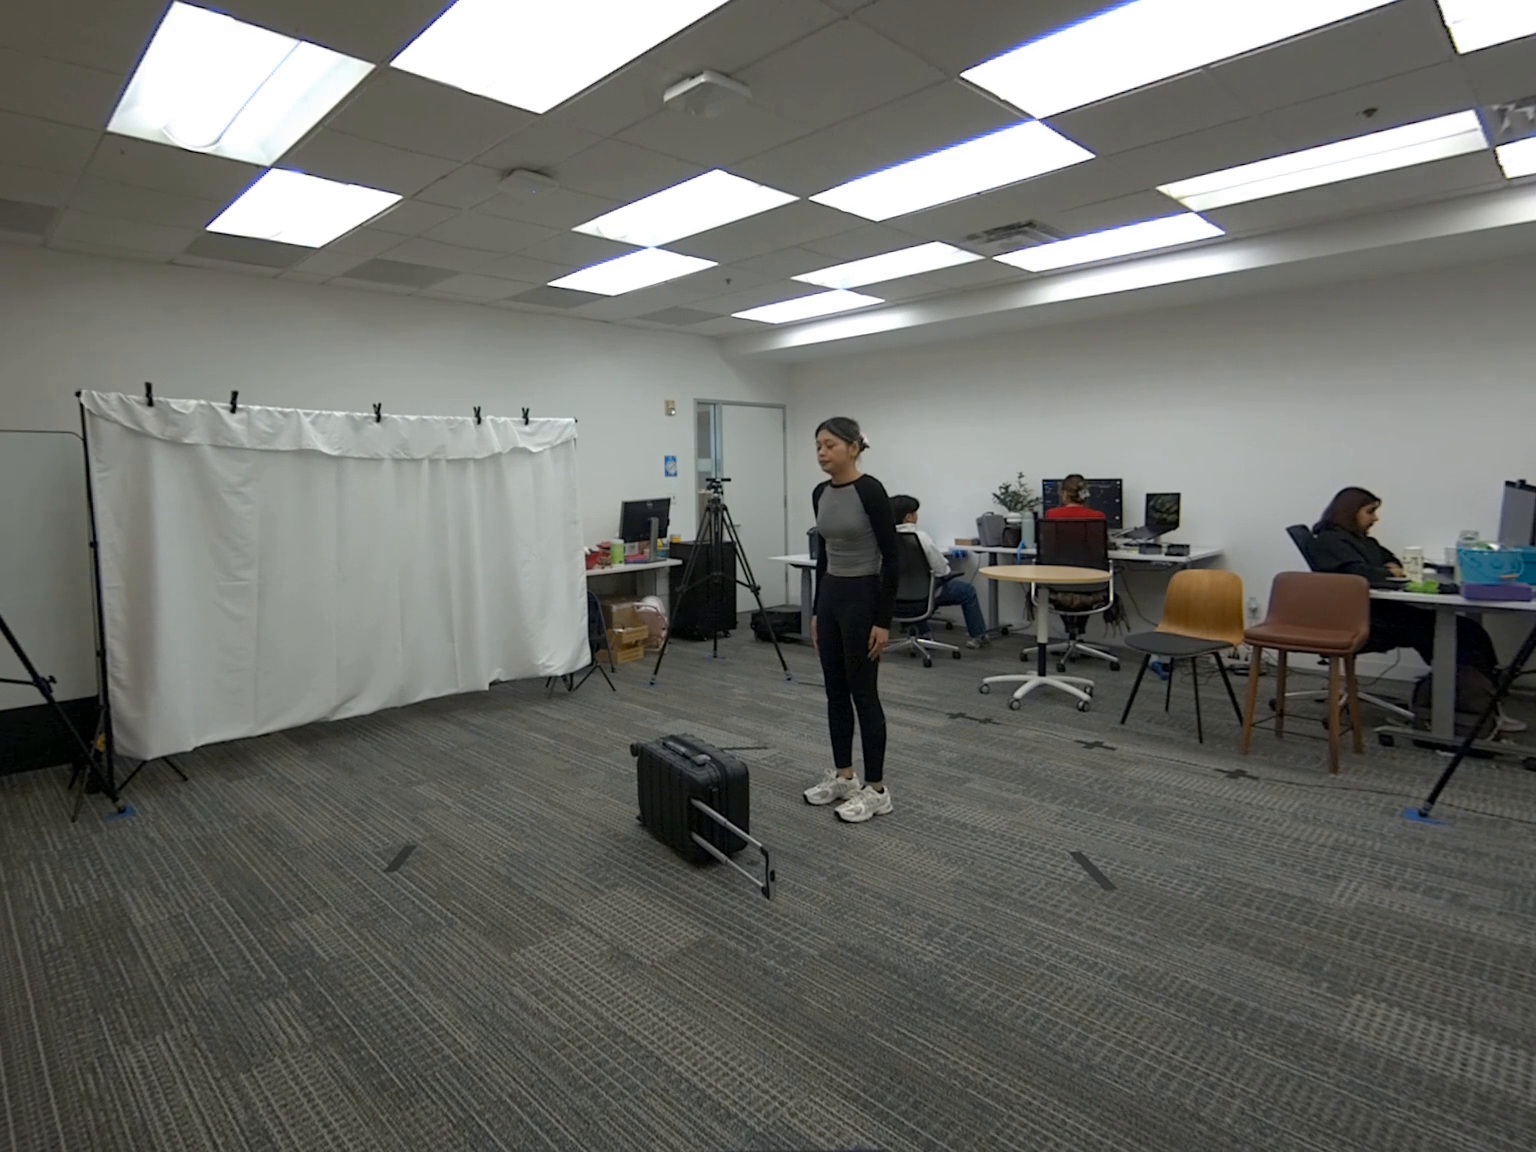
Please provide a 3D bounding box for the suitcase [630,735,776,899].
[{"bbox_3d":[-0.173,0.854,3.109,0.251,0.382,1.007,-4,6,-34],"label":"suitcase"}]
